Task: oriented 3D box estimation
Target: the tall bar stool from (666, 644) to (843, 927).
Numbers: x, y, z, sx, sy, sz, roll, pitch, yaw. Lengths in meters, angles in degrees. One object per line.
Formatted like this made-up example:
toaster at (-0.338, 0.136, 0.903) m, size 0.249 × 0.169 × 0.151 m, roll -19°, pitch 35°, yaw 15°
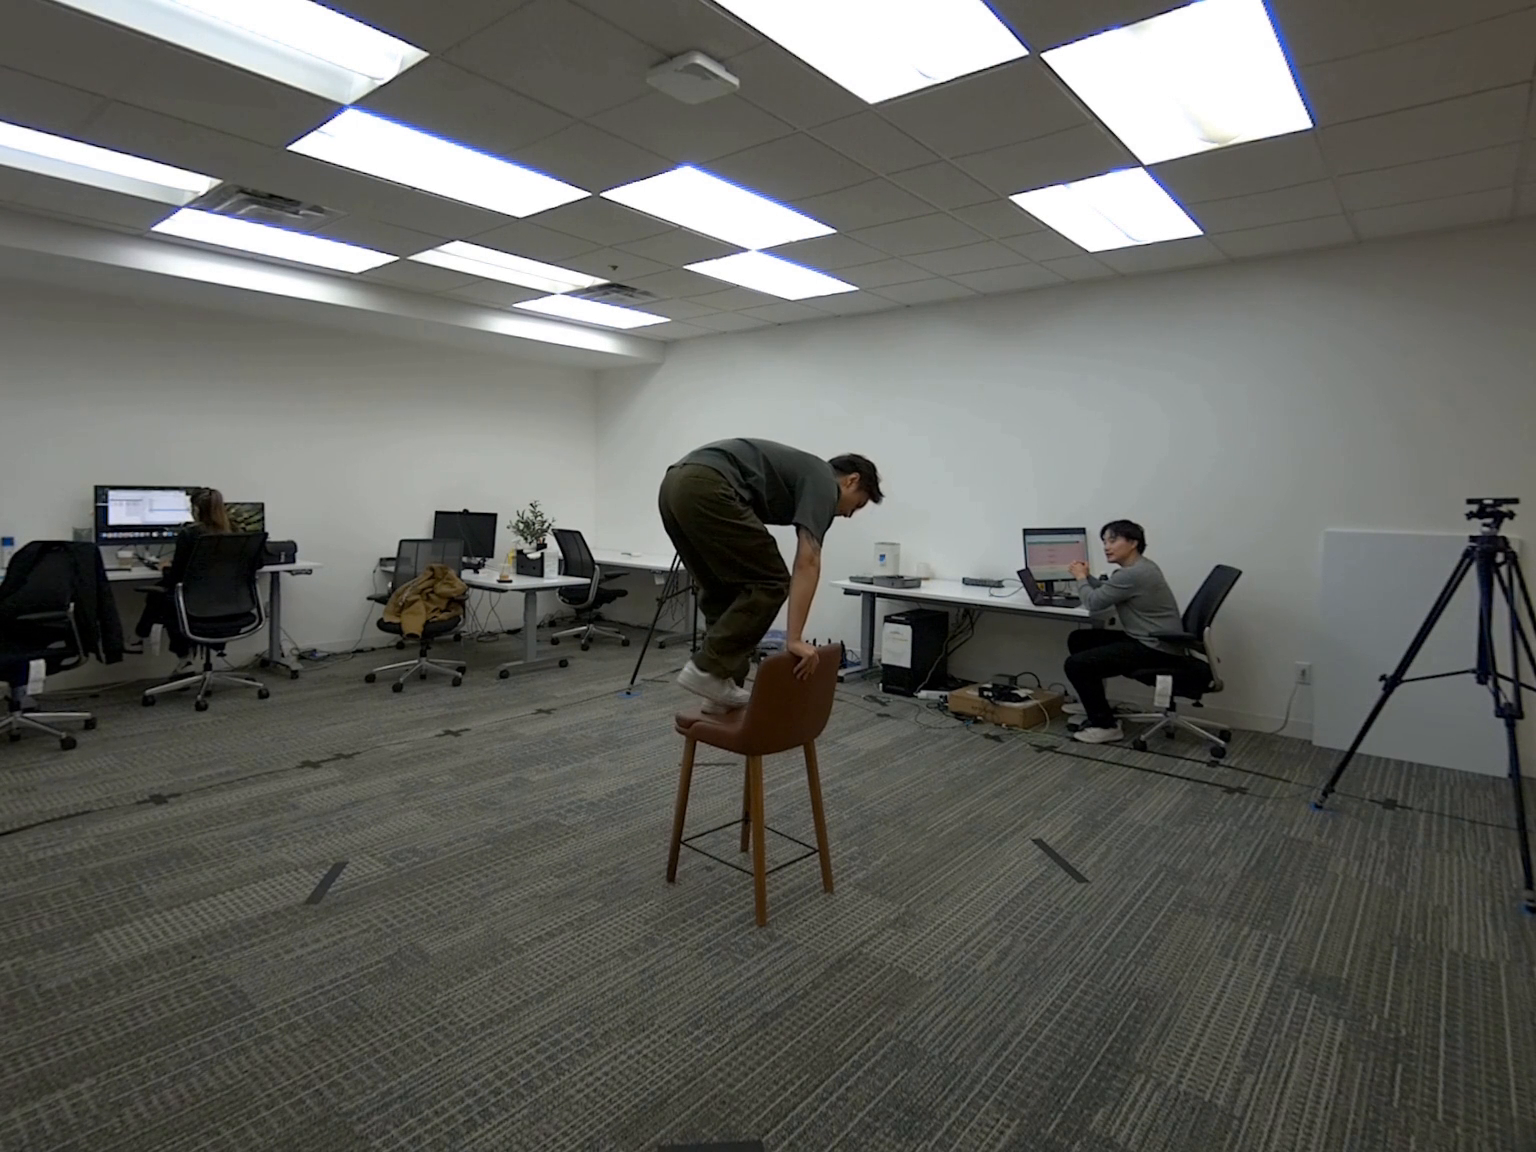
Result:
tall bar stool at (-0.052, 0.648, 2.956) m, size 0.484 × 0.886 × 0.442 m, roll 7°, pitch 6°, yaw 44°
